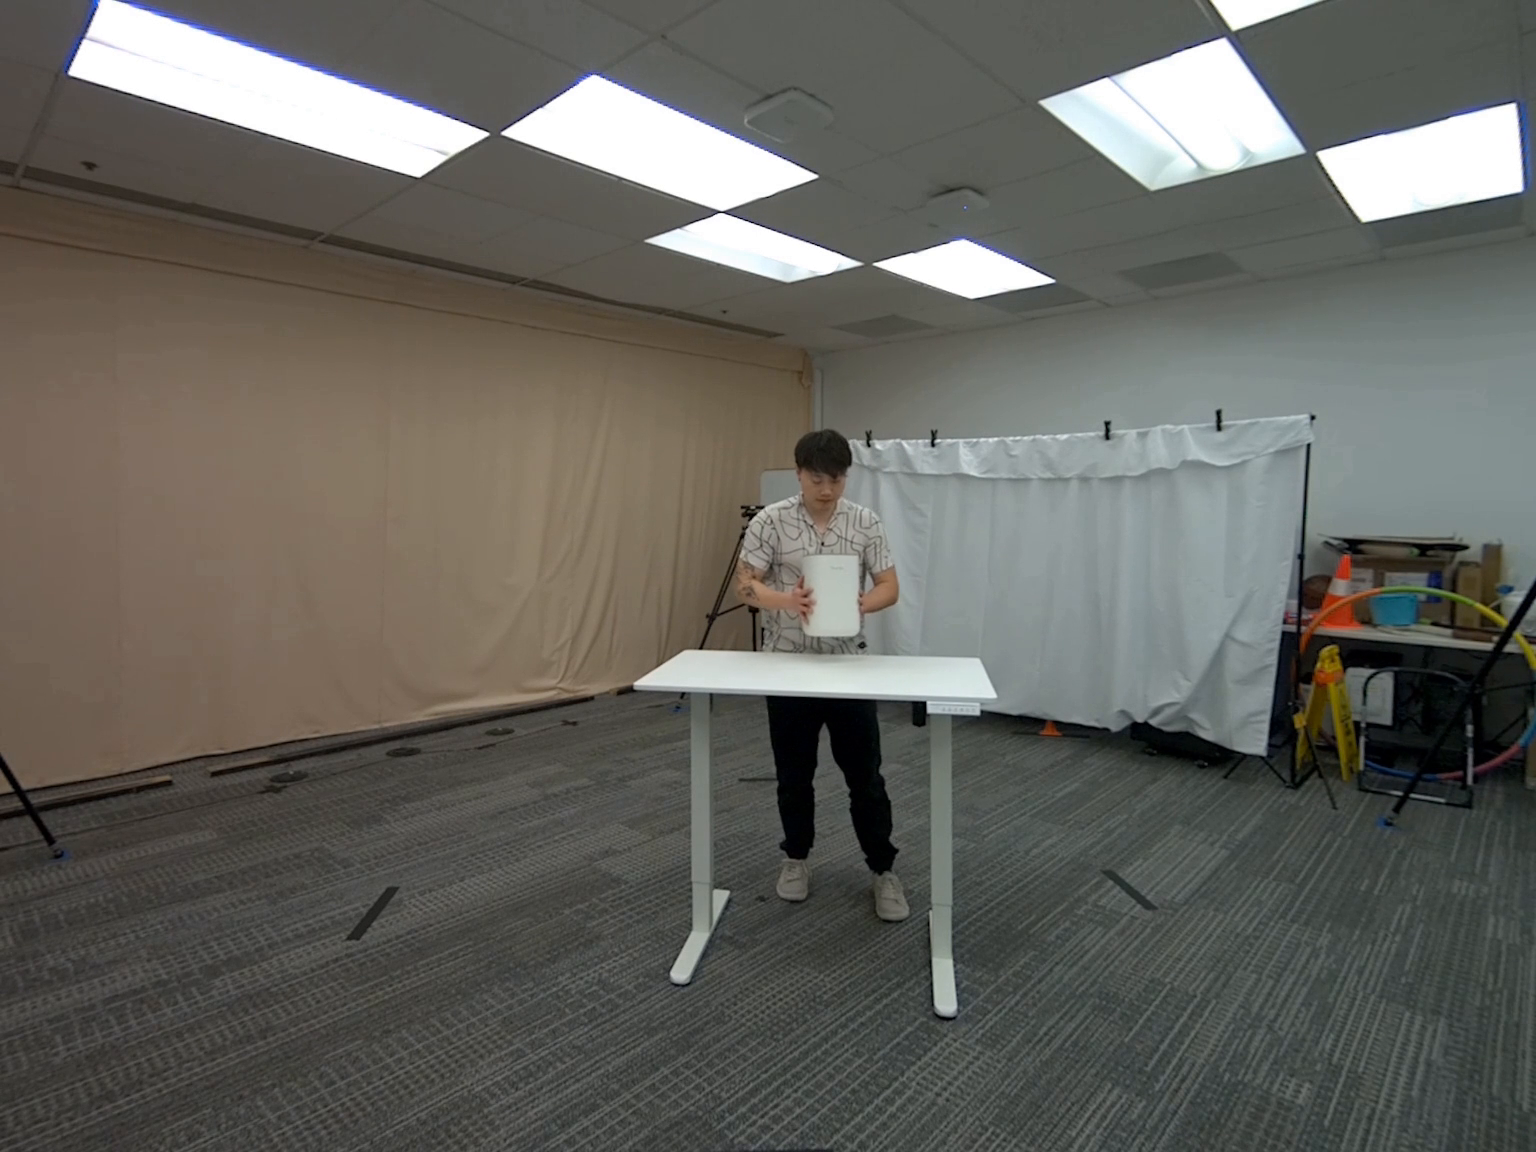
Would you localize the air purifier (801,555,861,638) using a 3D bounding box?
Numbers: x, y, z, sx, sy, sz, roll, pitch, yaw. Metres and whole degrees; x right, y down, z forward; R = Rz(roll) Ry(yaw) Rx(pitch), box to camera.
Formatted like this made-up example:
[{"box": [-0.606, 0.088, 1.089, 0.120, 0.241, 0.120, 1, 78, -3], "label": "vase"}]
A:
[{"box": [0.204, 0.068, 2.759, 0.170, 0.266, 0.173, -1, -3, -8], "label": "air purifier"}]
